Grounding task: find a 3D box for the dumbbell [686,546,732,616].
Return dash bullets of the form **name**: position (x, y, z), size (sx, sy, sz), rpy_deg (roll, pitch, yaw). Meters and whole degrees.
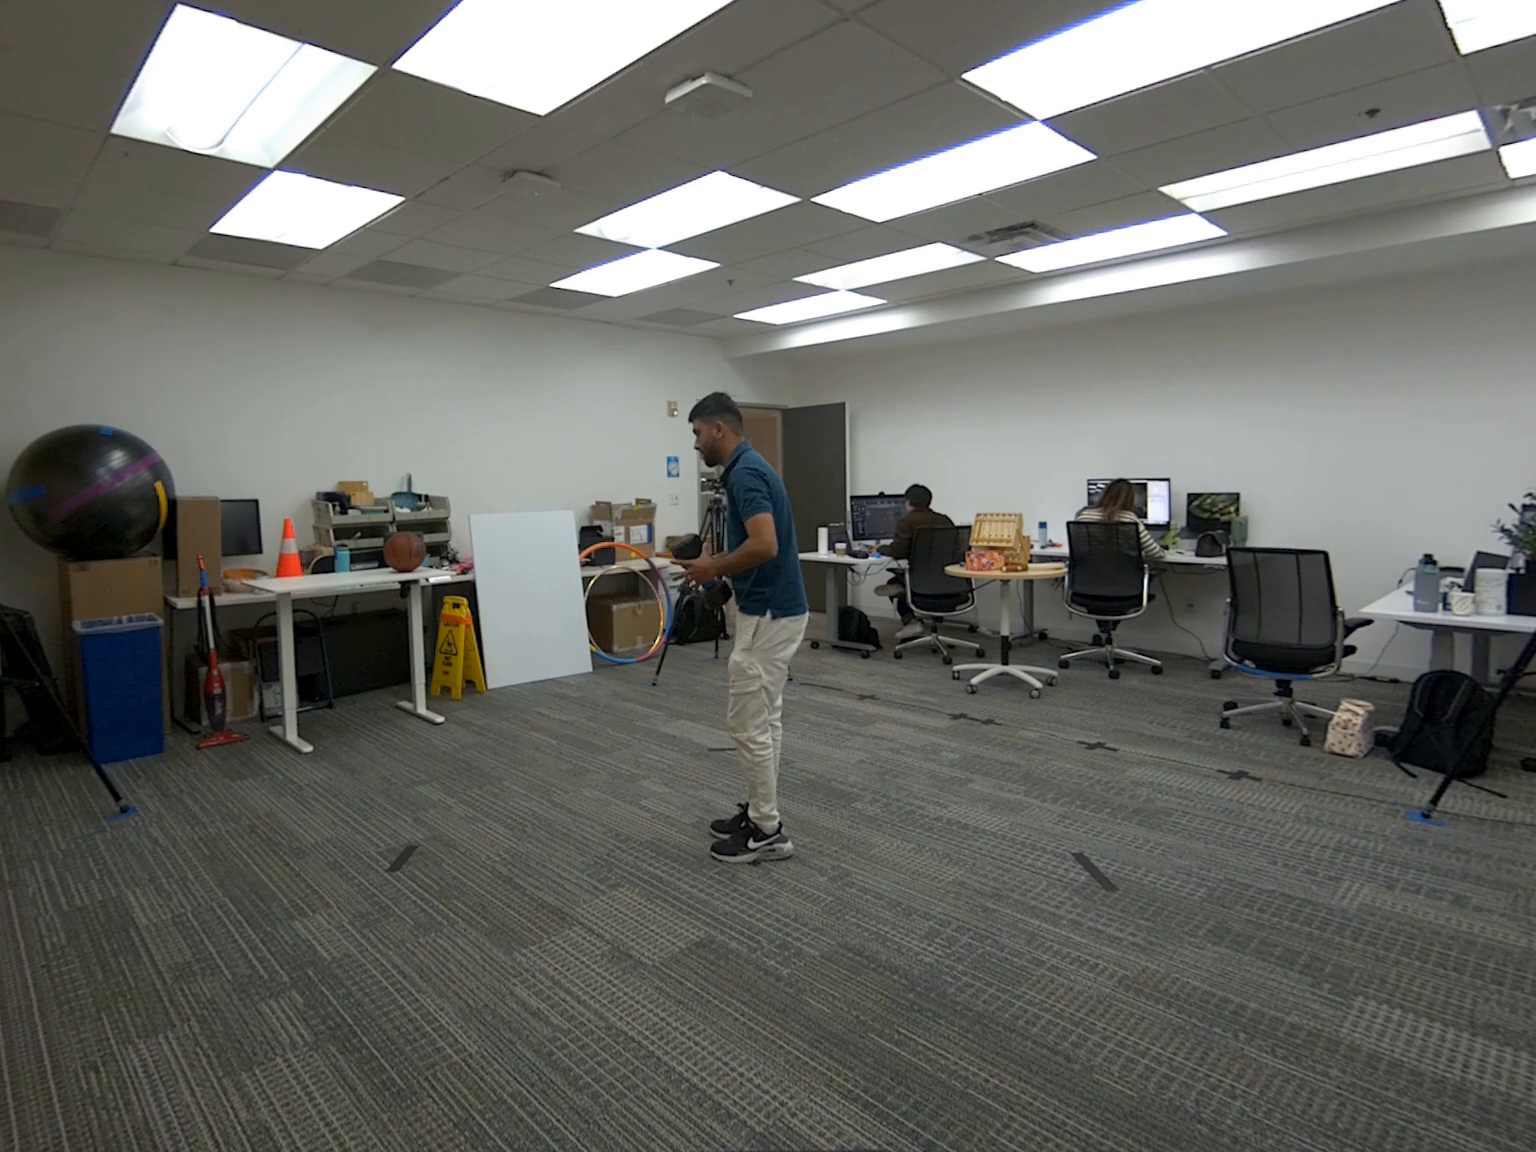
- **dumbbell**: position (-0.250, -0.023, 3.225), size (0.110, 0.289, 0.123), rpy_deg (-19, 16, 35)
